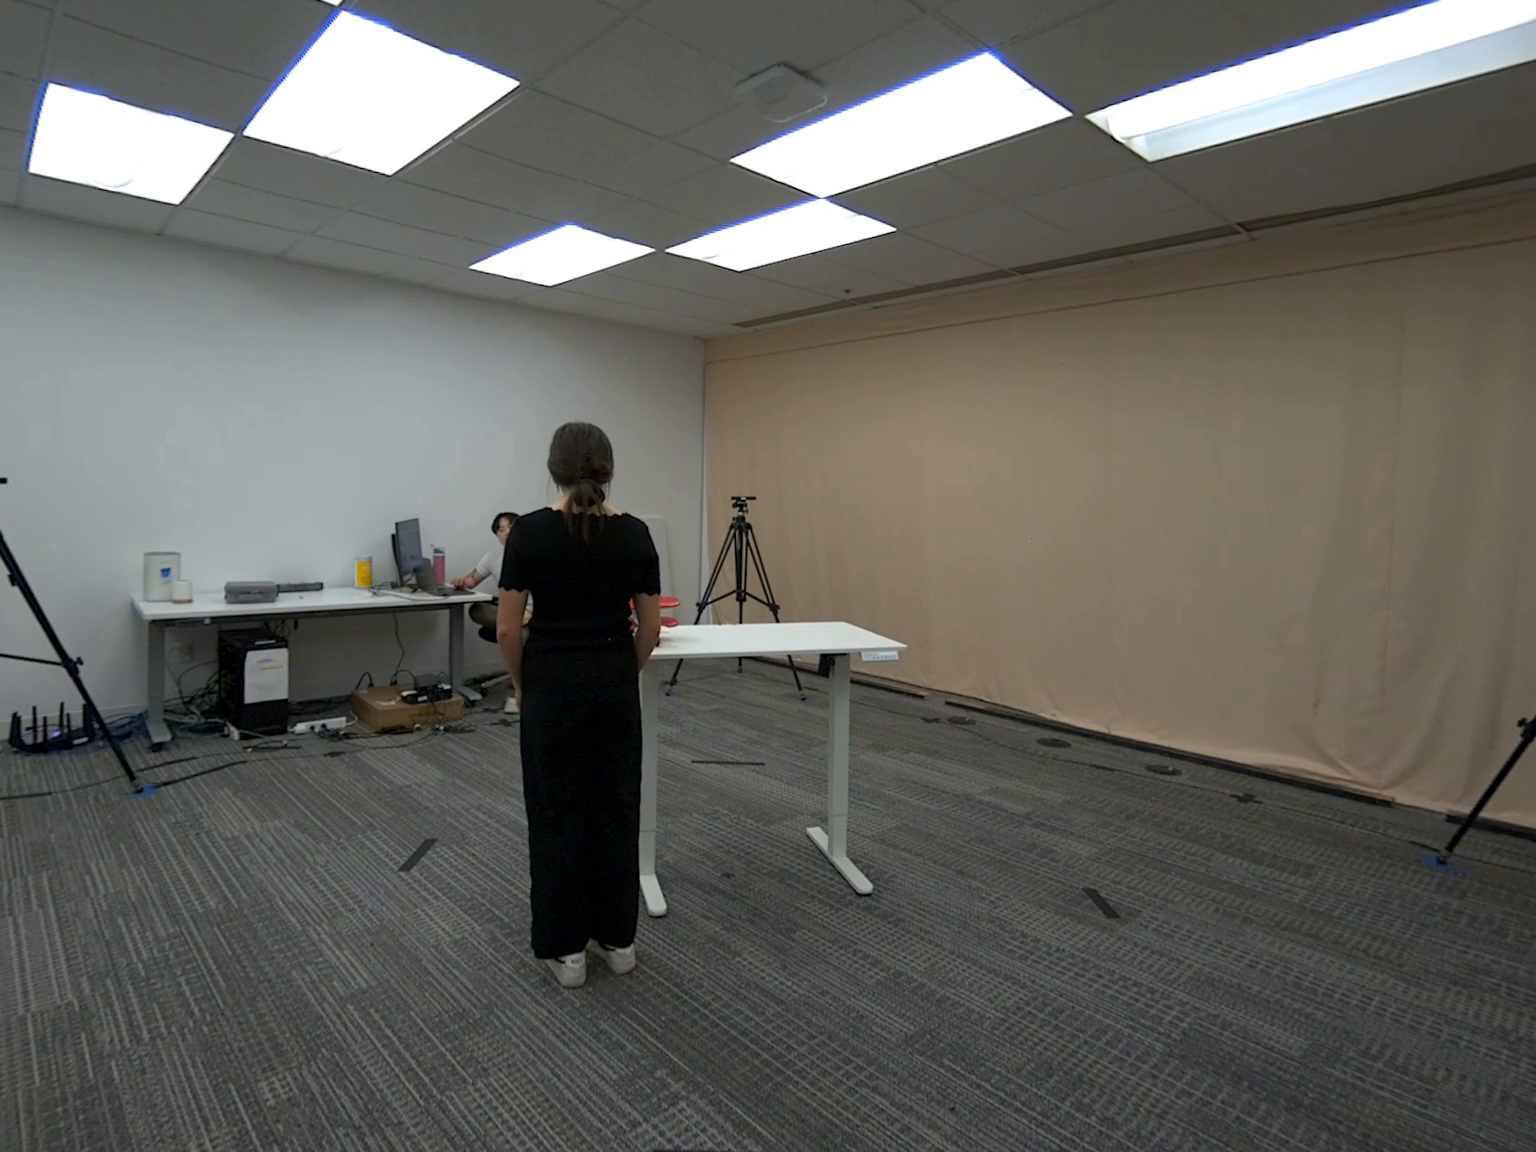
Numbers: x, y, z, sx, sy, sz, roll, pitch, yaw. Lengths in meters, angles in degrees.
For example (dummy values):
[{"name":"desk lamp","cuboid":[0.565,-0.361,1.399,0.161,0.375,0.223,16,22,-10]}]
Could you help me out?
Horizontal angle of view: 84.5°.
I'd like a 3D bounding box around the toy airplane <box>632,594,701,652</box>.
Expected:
[{"name":"toy airplane","cuboid":[-0.420,0.157,2.955,0.266,0.156,0.245,4,7,44]}]
